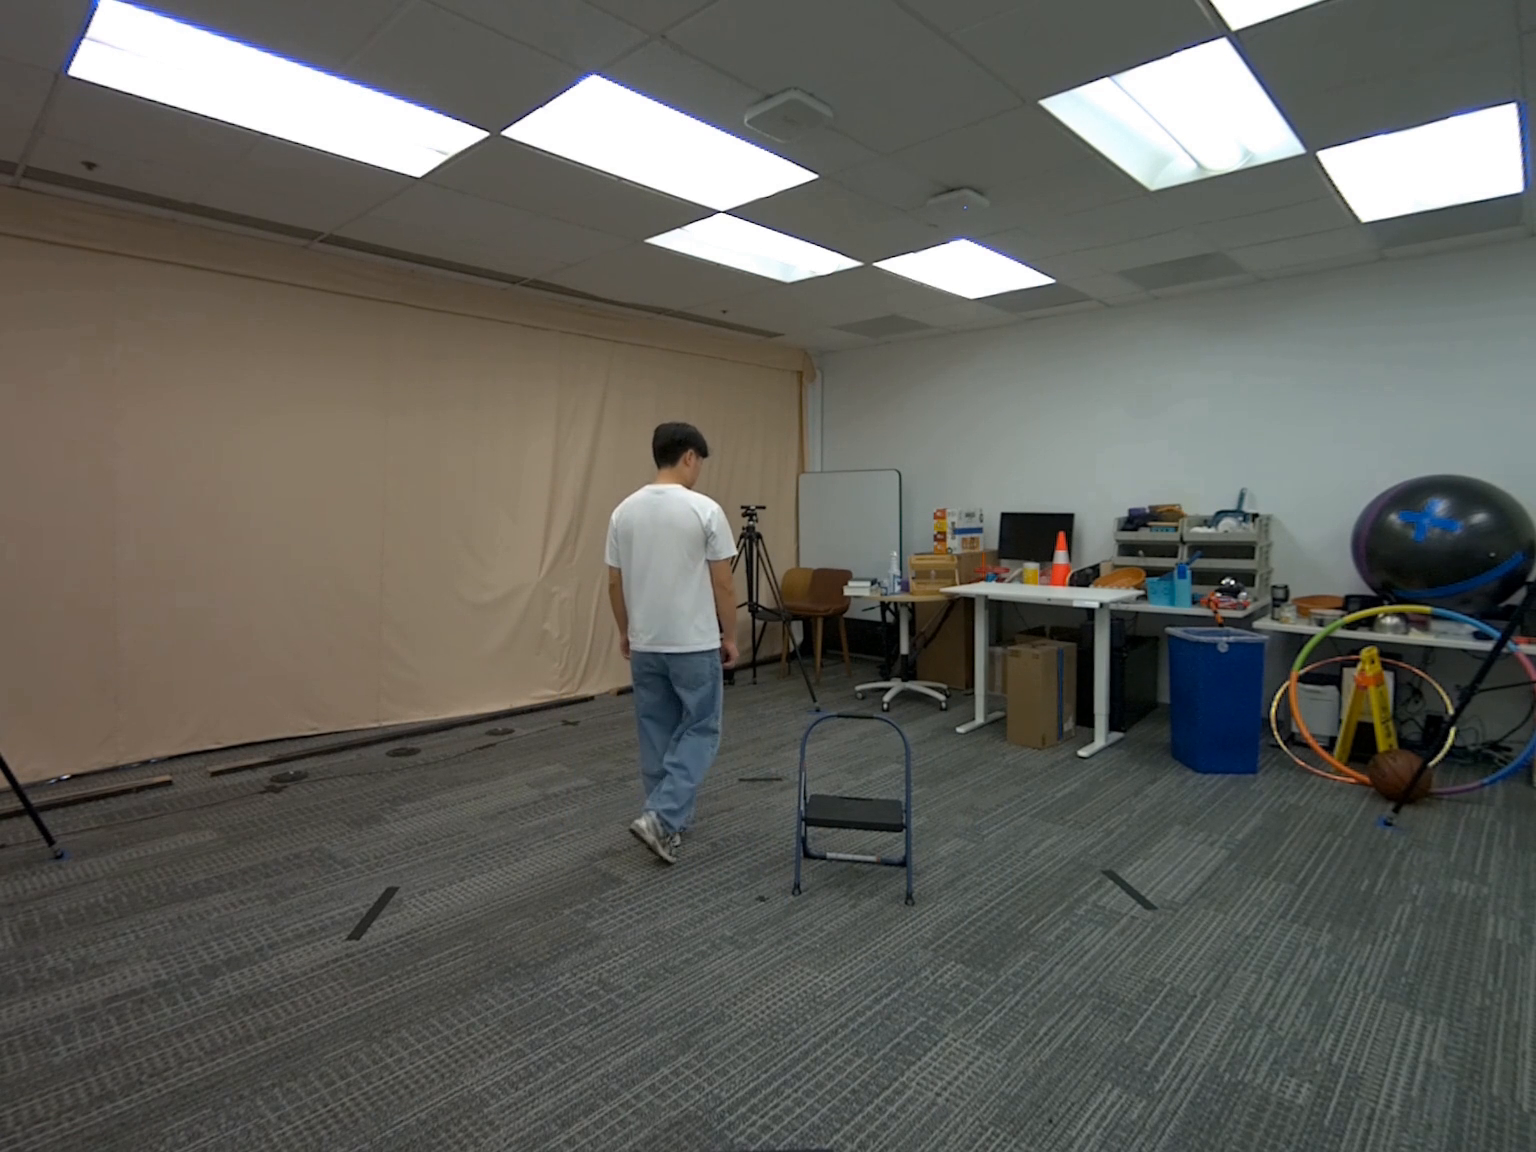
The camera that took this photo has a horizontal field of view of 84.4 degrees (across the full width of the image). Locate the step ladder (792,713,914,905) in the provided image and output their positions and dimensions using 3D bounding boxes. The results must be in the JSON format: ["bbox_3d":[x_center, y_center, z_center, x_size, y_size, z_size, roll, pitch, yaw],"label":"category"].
[{"bbox_3d":[0.329,0.827,3.125,0.436,0.605,0.346,1,3,10],"label":"step ladder"}]
